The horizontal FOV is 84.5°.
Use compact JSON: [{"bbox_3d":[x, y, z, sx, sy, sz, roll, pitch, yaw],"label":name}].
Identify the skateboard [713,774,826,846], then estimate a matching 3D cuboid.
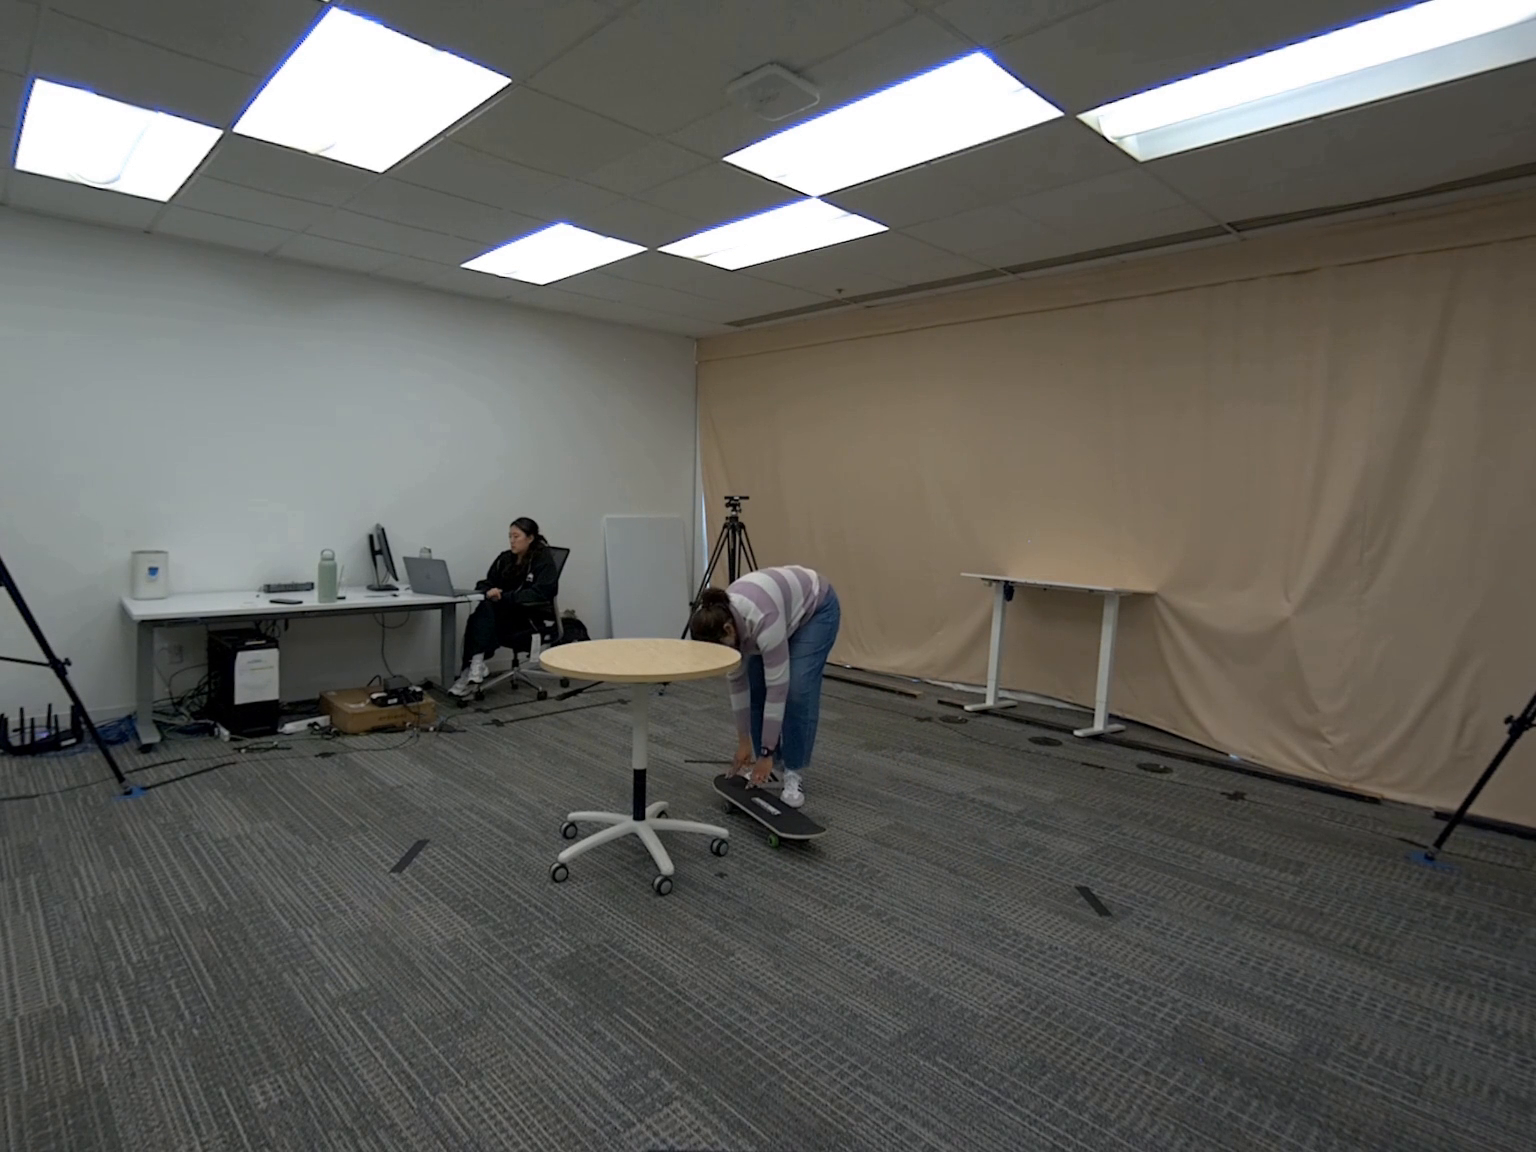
[{"bbox_3d":[-0.021,1.008,3.581,0.190,0.110,0.803,-1,5,-29],"label":"skateboard"}]
